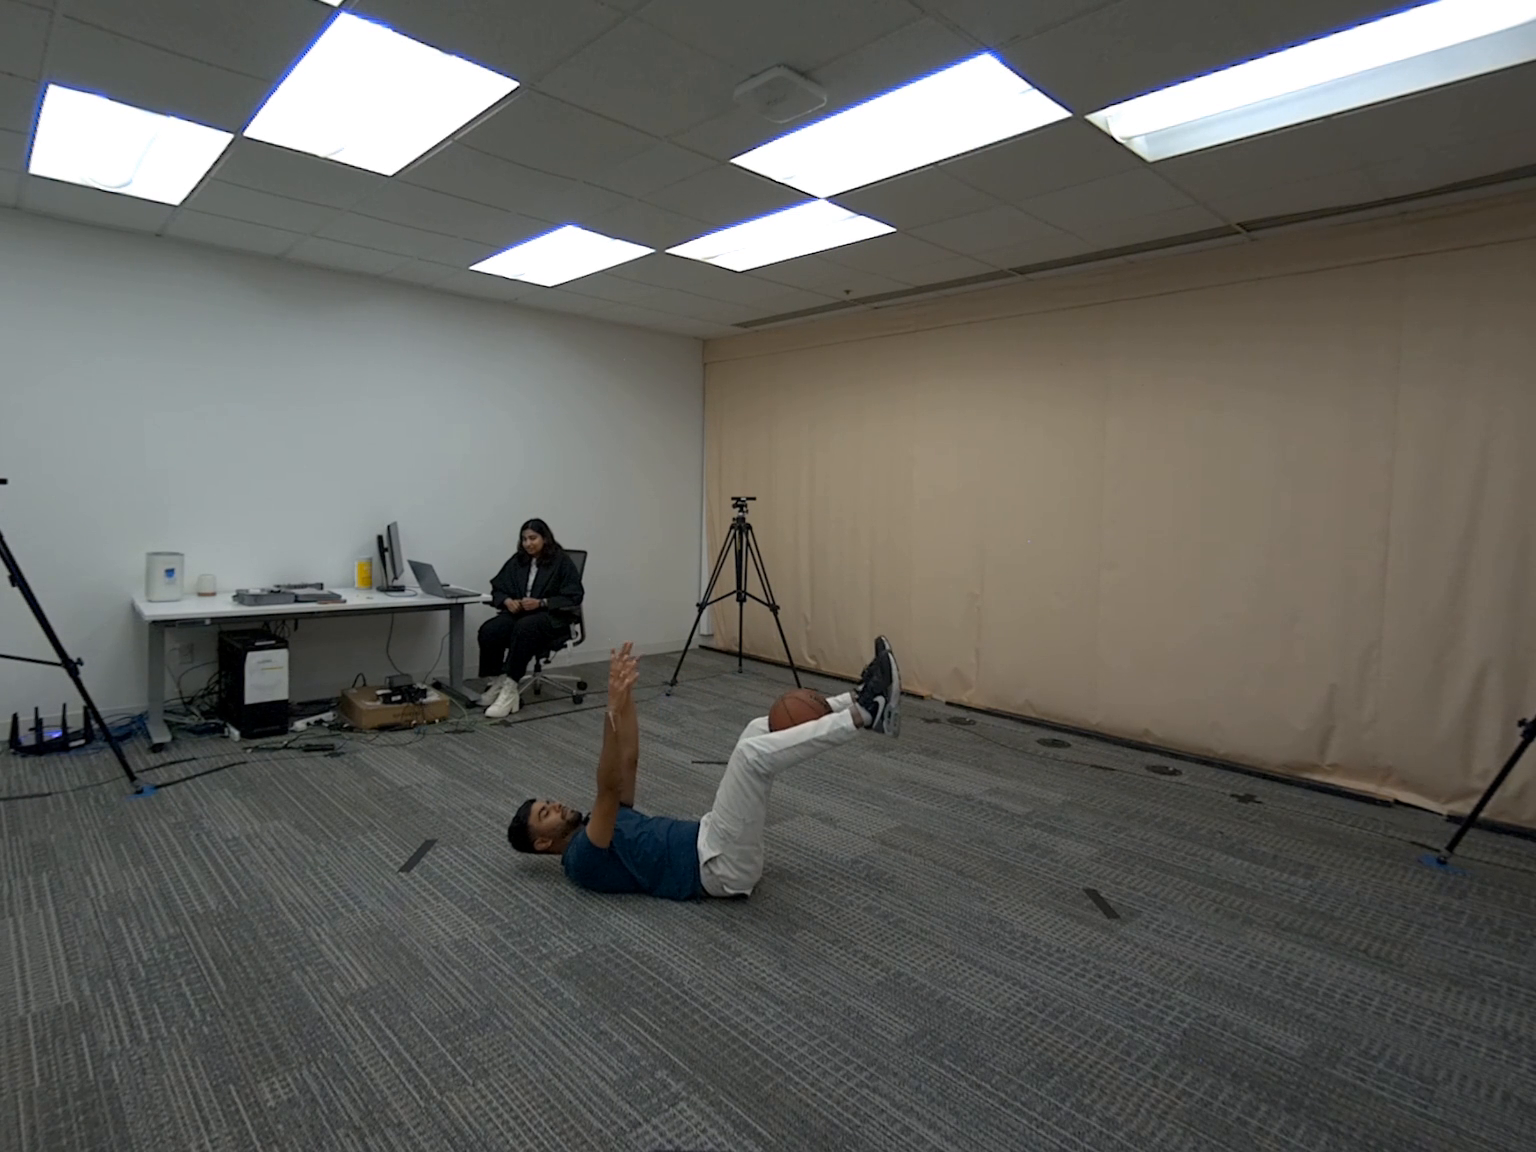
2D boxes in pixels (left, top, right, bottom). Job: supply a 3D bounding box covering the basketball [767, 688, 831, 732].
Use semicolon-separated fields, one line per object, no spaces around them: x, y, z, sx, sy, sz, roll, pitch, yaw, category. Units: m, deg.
0.116;0.521;2.980;0.236;0.235;0.237;1;4;-1;basketball
